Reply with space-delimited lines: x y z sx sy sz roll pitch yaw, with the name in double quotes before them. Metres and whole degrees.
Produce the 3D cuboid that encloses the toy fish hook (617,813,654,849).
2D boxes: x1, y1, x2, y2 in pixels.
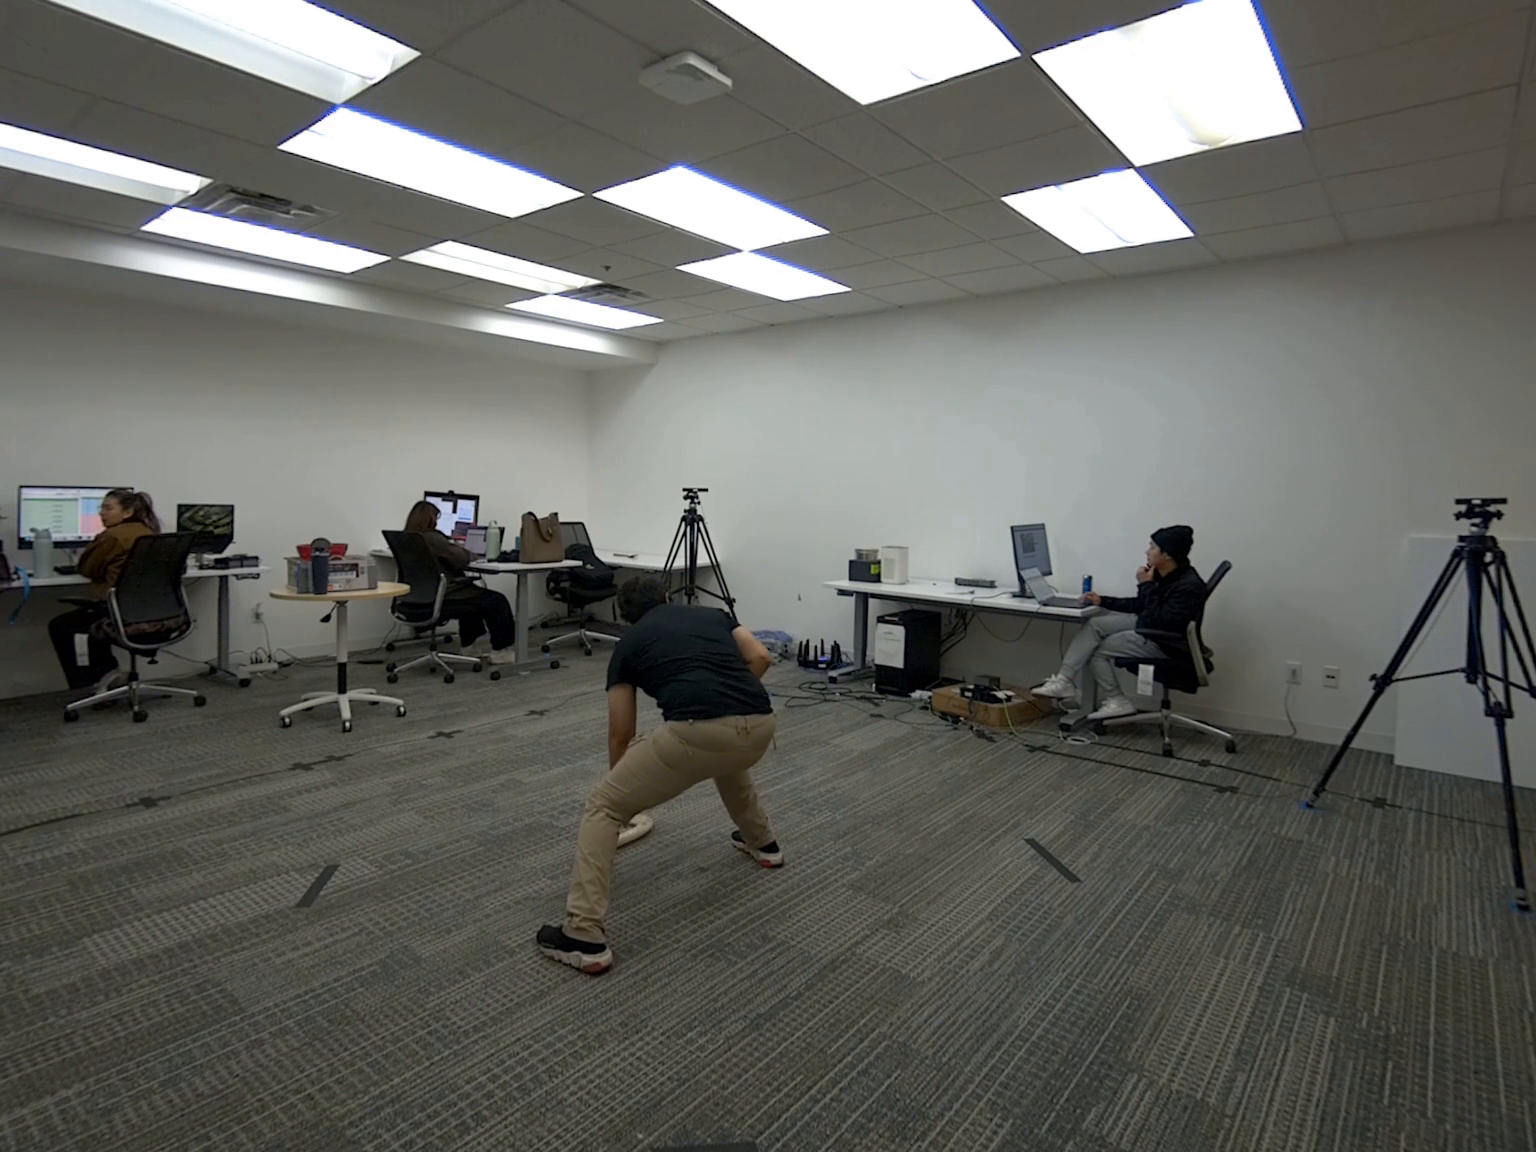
"toy fish hook" -0.634 1.023 3.322 0.229 0.048 0.497 -5 2 21
